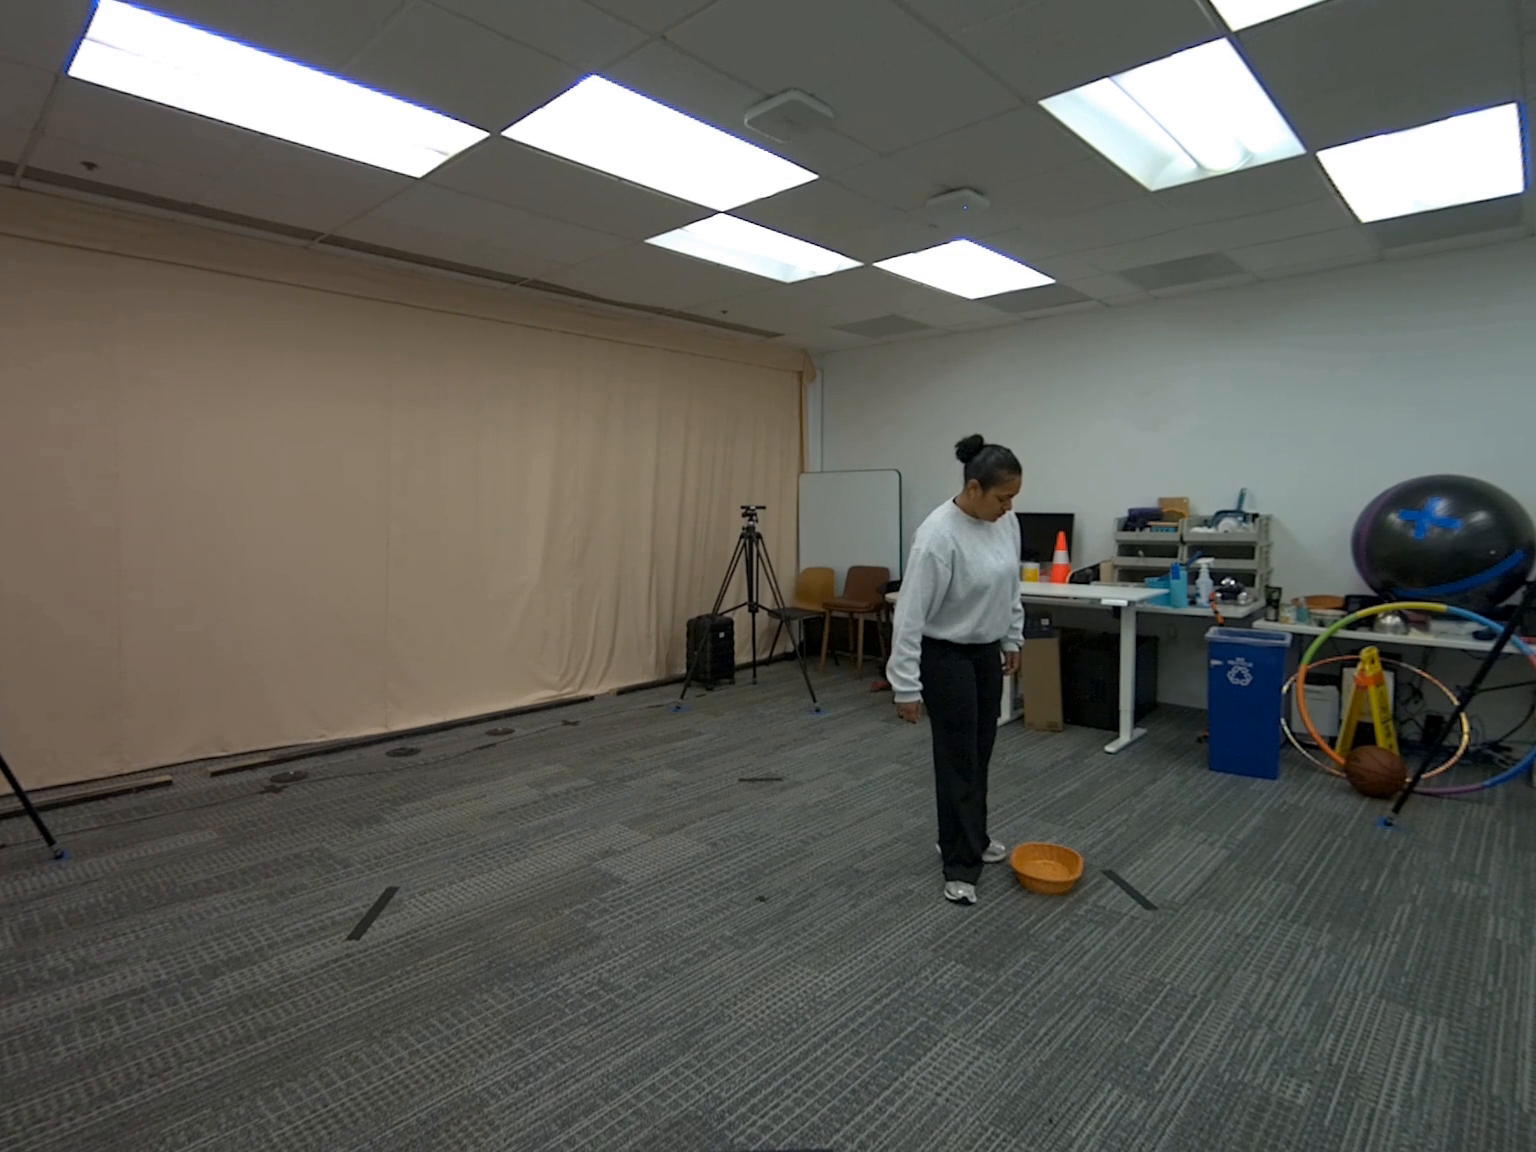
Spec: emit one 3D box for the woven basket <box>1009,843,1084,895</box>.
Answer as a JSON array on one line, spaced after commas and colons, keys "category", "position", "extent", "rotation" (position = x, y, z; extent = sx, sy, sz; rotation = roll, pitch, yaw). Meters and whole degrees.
[{"category": "woven basket", "position": [1.041, 1.092, 3.138], "extent": [0.260, 0.073, 0.341], "rotation": [3, 6, 29]}]
